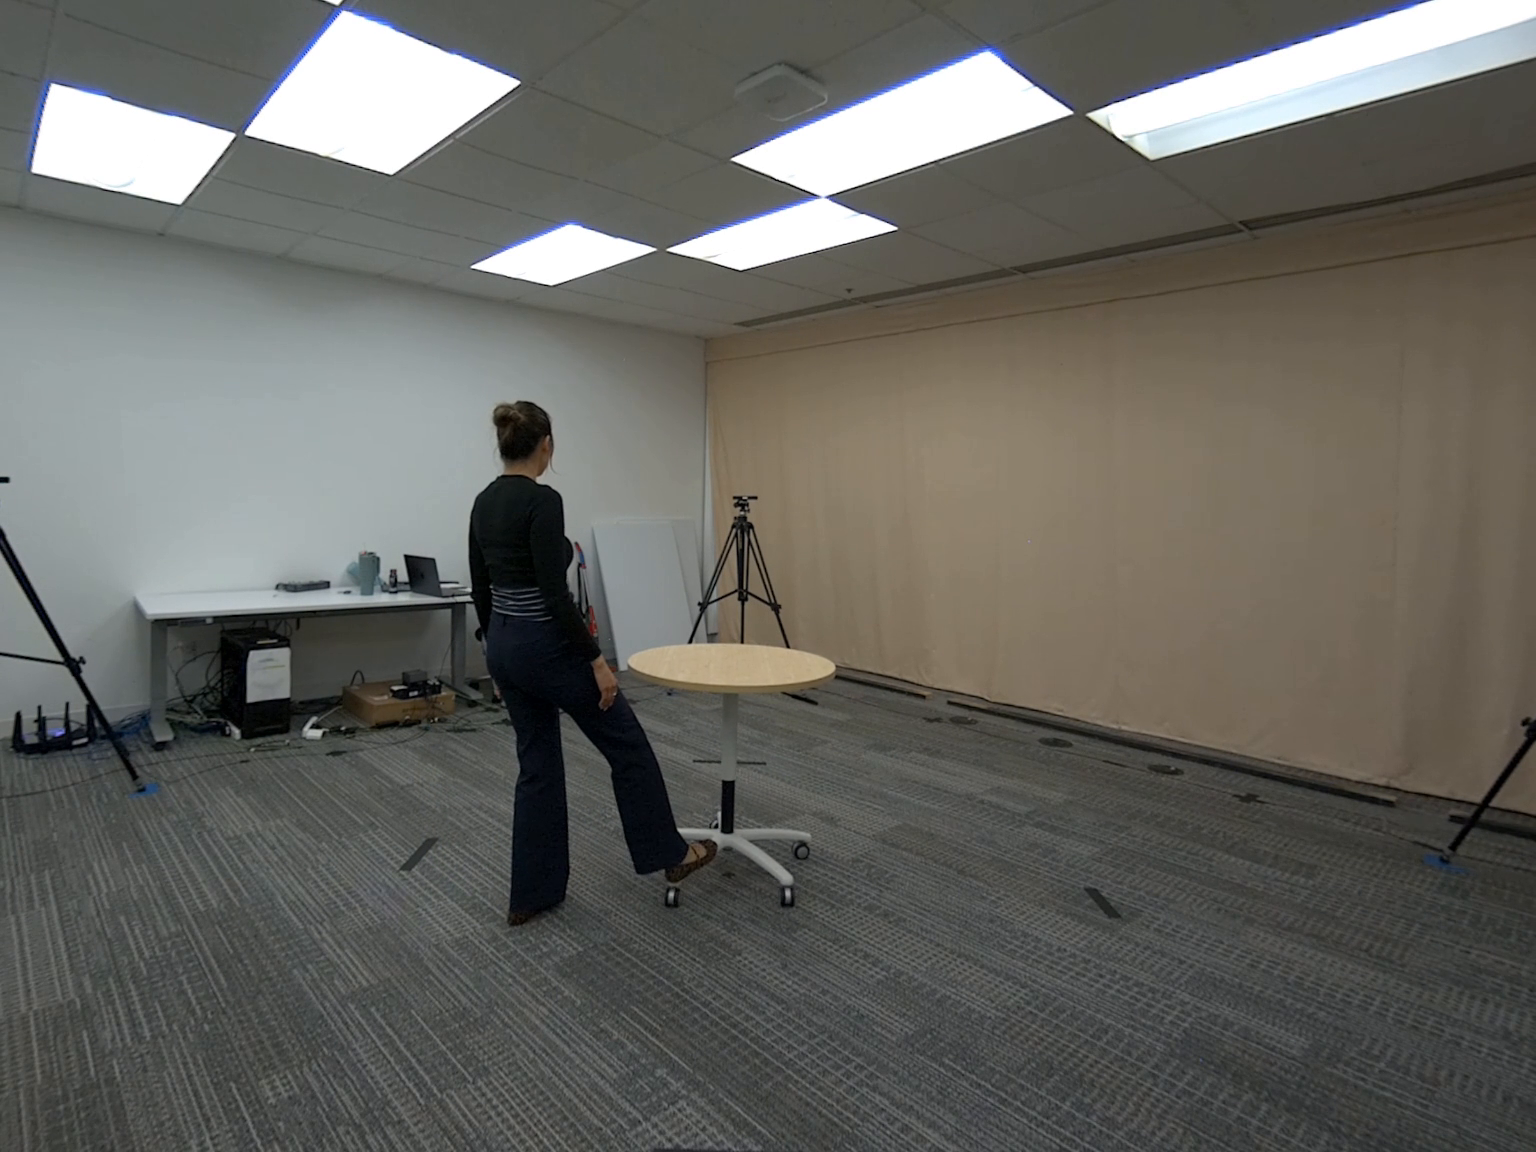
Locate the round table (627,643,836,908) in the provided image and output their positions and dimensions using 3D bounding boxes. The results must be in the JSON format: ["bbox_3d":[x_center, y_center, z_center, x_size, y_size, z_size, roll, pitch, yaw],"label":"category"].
[{"bbox_3d":[-0.153,0.710,3.136,0.763,0.792,0.766,2,4,-2],"label":"round table"}]
